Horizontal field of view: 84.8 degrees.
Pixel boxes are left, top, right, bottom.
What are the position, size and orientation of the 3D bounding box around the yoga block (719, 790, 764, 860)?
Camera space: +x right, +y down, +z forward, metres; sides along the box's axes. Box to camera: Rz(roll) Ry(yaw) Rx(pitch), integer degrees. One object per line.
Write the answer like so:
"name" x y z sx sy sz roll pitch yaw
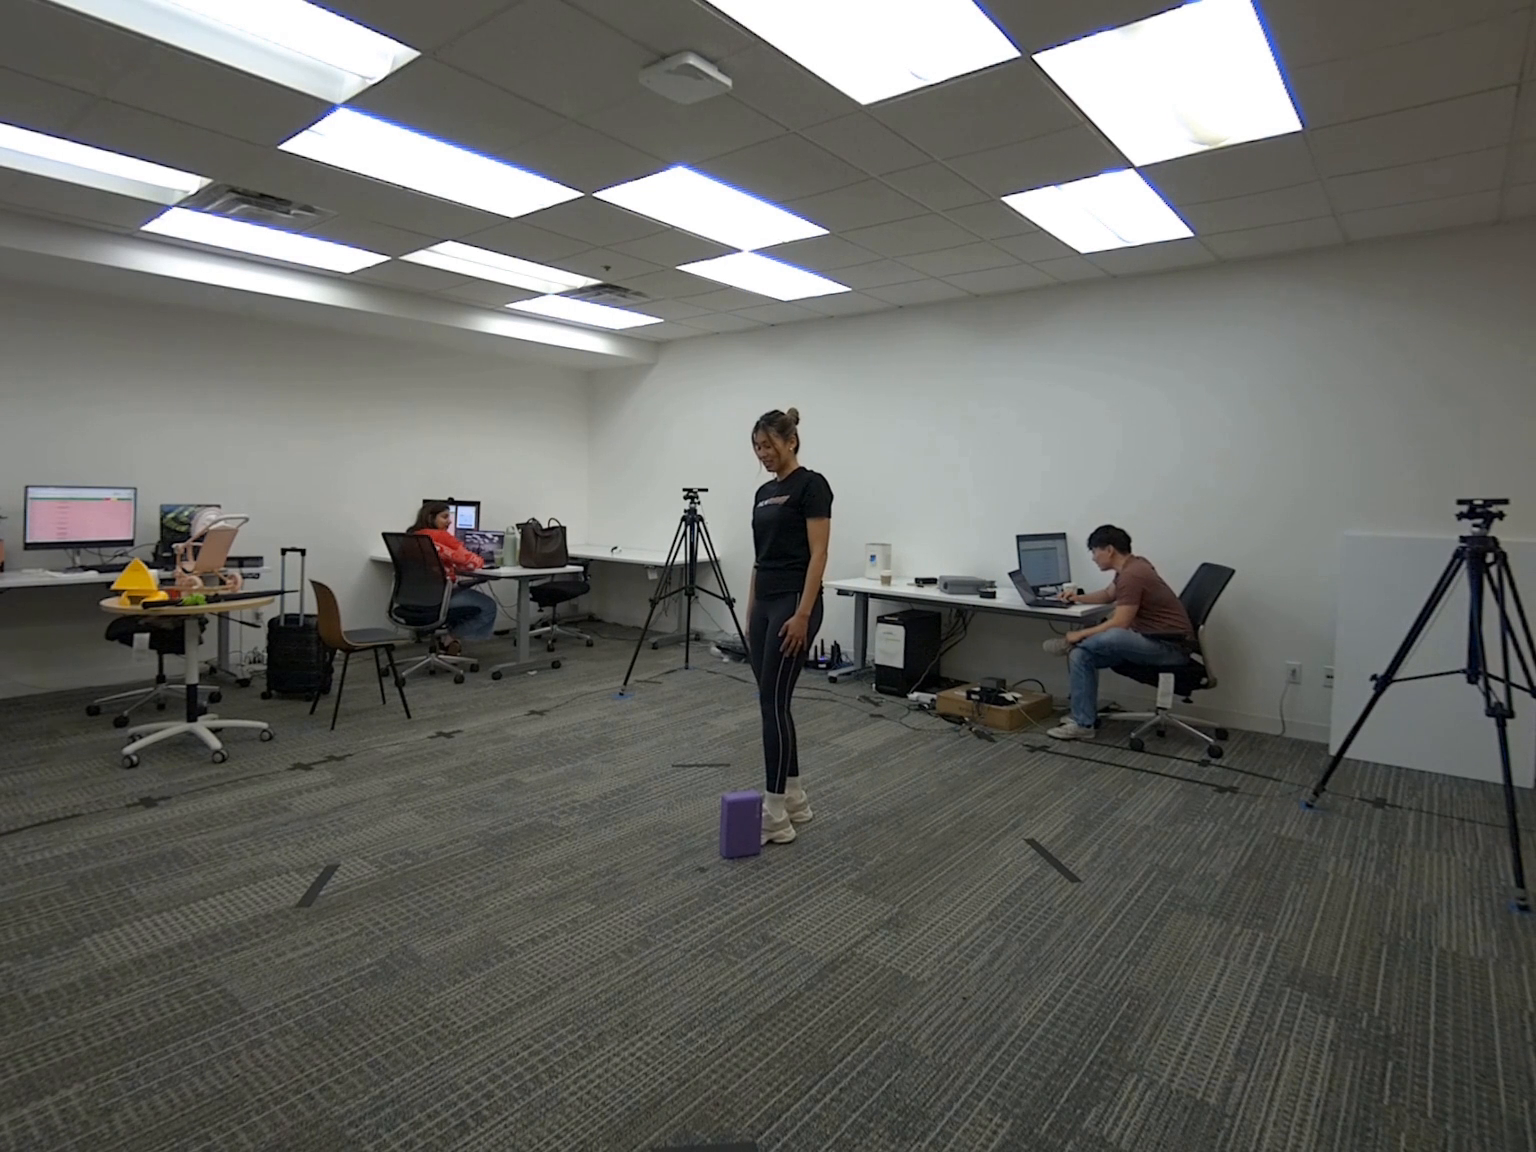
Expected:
"yoga block" -0.111 0.942 3.239 0.146 0.228 0.078 -1 4 -22
